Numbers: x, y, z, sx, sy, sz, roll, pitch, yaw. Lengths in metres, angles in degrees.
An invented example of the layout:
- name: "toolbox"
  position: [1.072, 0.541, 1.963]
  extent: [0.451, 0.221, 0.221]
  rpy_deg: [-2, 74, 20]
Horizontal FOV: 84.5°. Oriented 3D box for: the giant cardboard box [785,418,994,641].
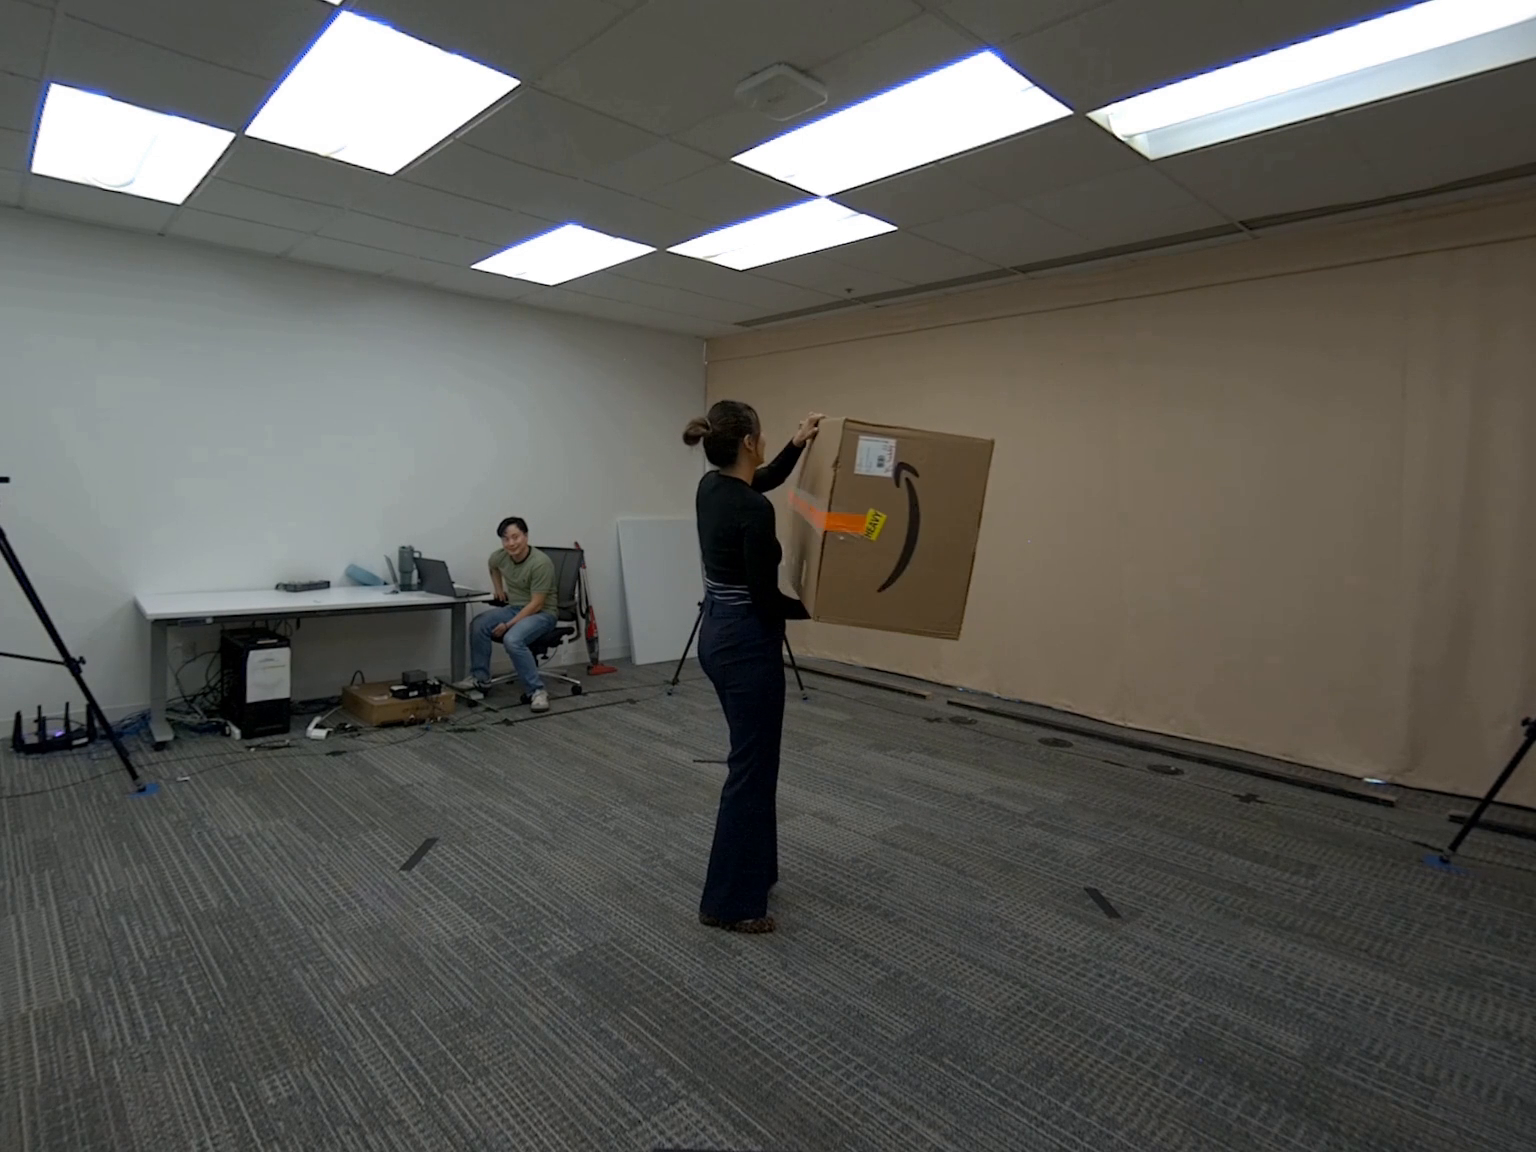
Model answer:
- name: "giant cardboard box"
  position: [0.319, -0.217, 2.831]
  extent: [0.425, 0.575, 1.034]
  rpy_deg: [8, 8, -5]
